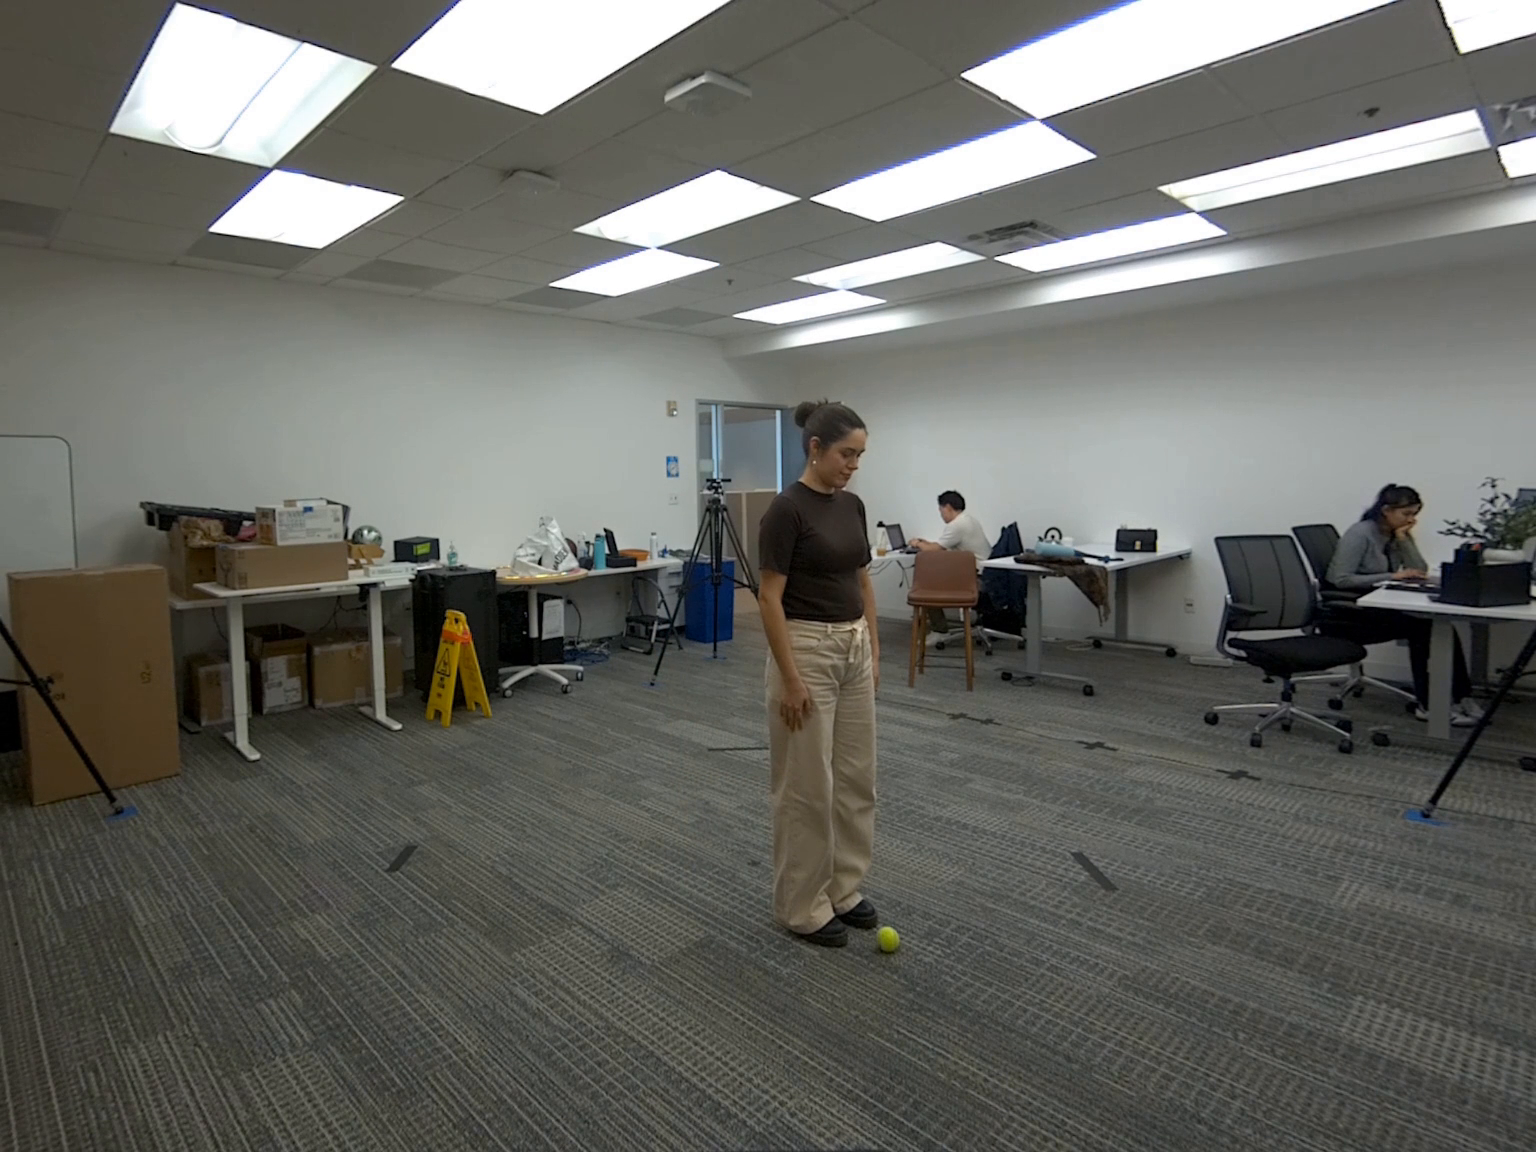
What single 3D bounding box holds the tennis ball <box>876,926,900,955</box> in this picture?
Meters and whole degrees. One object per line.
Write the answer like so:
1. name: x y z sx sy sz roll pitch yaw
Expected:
1. tennis ball: 0.352 1.050 2.528 0.066 0.066 0.067 -1 5 -2
